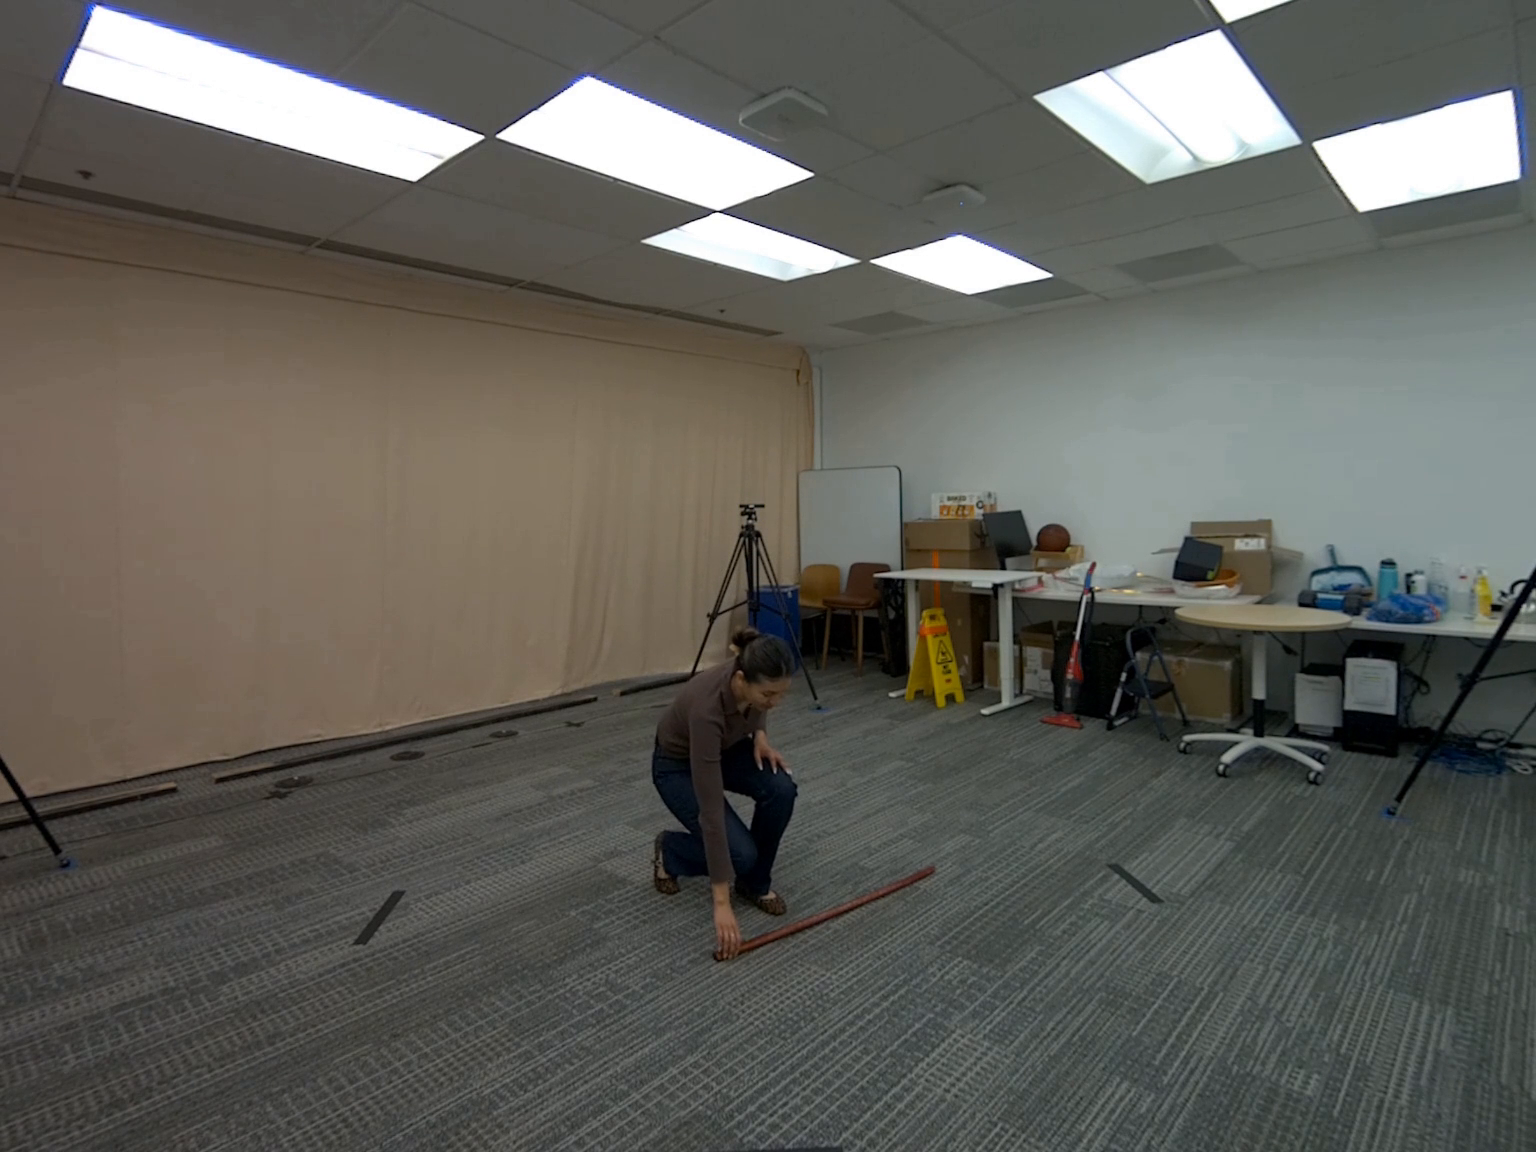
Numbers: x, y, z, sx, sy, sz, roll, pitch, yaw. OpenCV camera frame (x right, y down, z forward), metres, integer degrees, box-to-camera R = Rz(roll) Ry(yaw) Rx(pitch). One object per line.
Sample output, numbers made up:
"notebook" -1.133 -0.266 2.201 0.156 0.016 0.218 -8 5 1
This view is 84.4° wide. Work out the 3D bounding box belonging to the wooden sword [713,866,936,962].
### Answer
"wooden sword" 0.246 1.117 2.871 0.994 0.053 0.024 -4 -38 -38
